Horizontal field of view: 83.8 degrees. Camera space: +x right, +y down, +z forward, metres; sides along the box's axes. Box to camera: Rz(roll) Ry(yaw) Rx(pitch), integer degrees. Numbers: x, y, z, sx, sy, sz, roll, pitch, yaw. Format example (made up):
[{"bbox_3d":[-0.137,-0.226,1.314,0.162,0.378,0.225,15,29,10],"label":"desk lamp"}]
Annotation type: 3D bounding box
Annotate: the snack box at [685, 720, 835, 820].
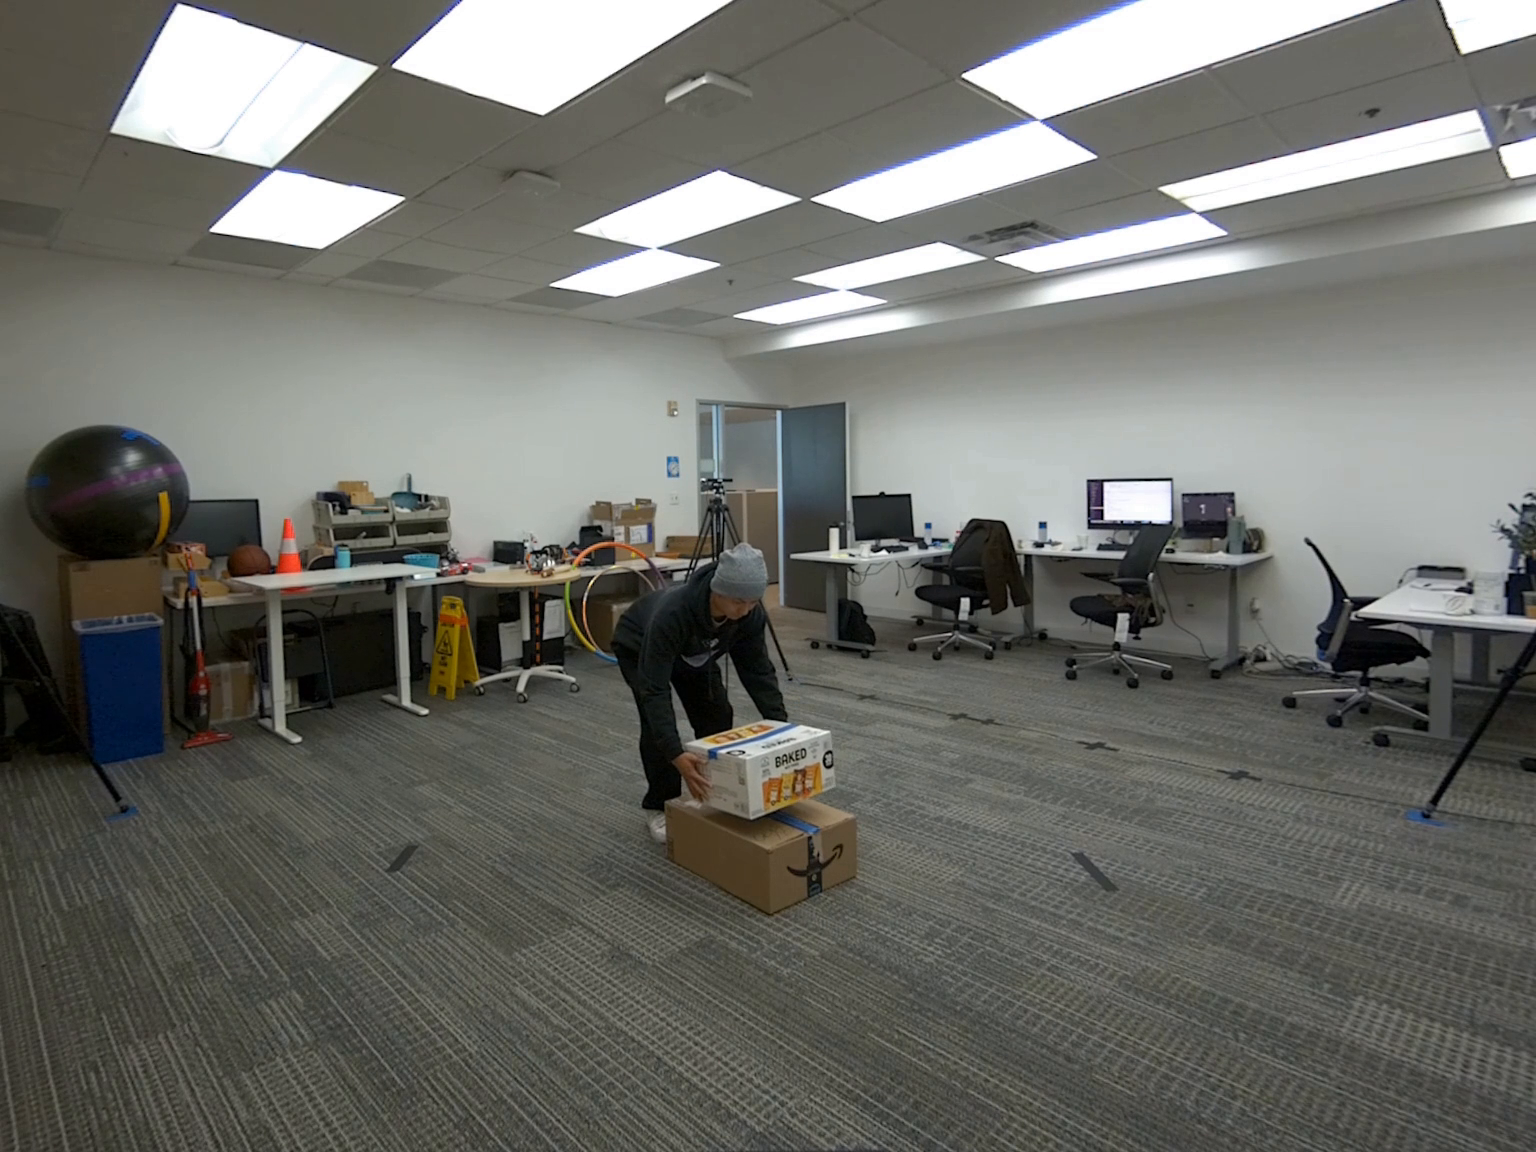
[{"bbox_3d":[-0.028,0.671,3.015,0.395,0.205,0.350,-8,4,-41],"label":"snack box"}]
